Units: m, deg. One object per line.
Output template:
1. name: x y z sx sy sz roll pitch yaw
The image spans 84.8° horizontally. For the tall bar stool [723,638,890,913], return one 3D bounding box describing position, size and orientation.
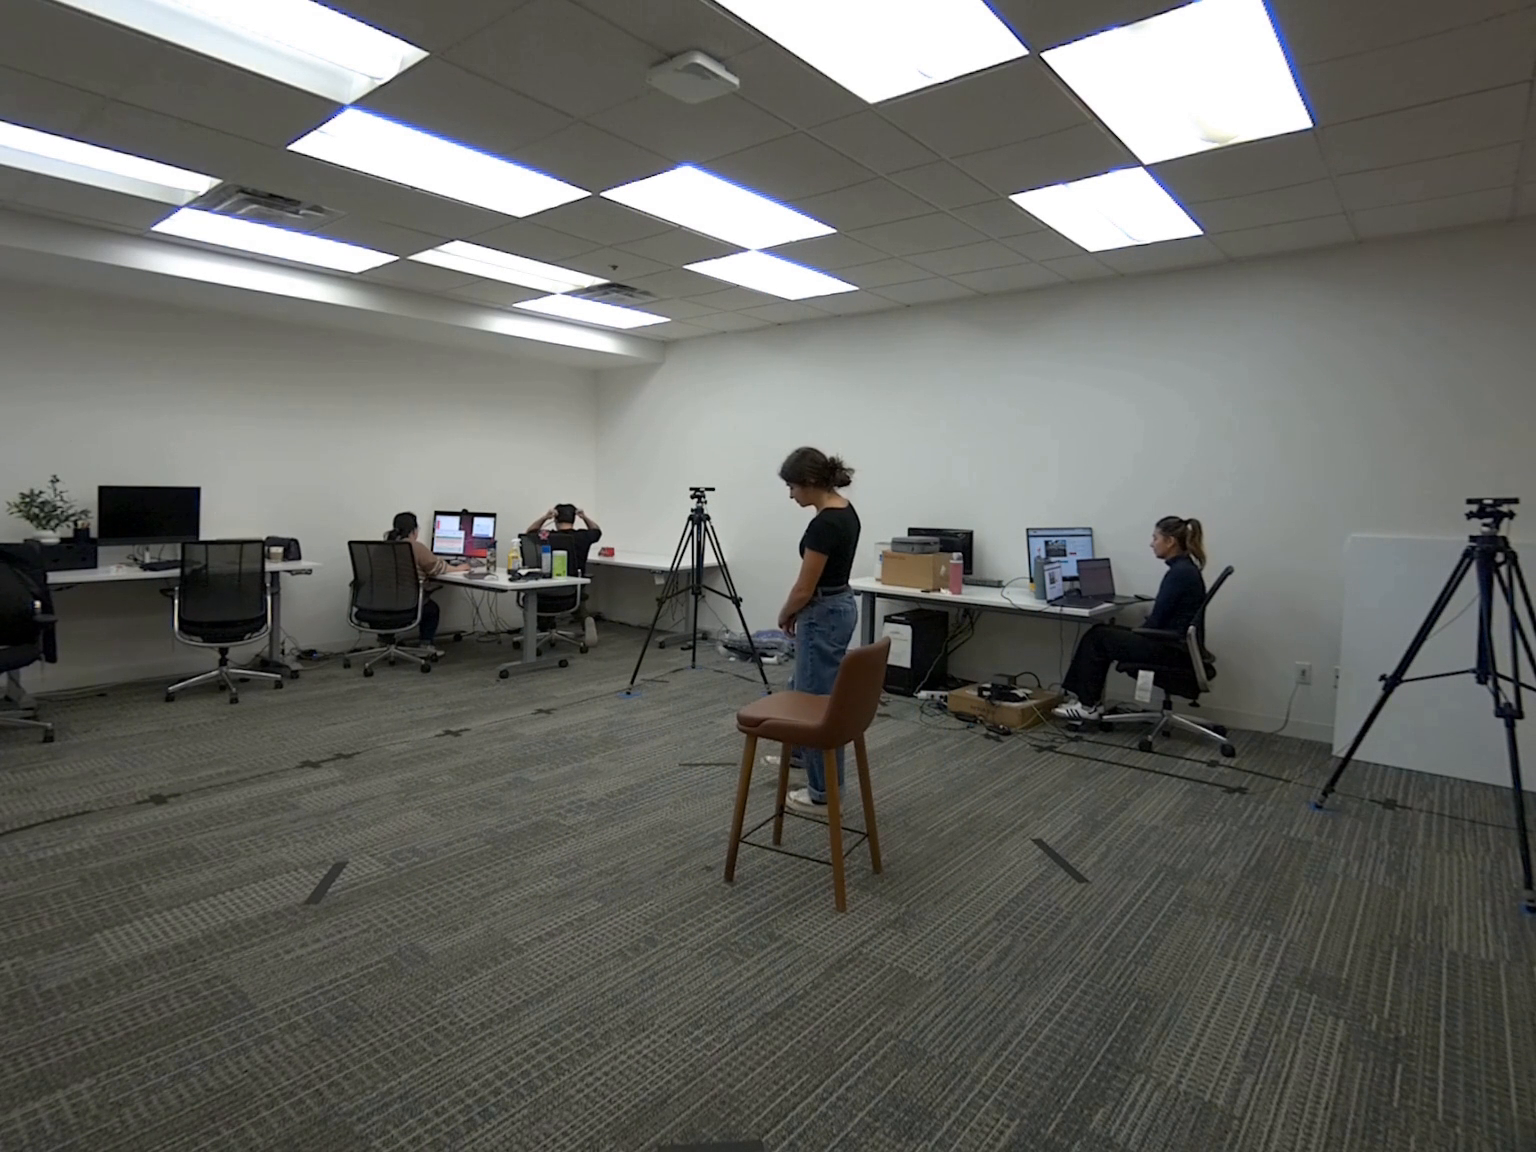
1. tall bar stool: 0.145 0.644 3.050 0.482 0.886 0.445 5 5 30
